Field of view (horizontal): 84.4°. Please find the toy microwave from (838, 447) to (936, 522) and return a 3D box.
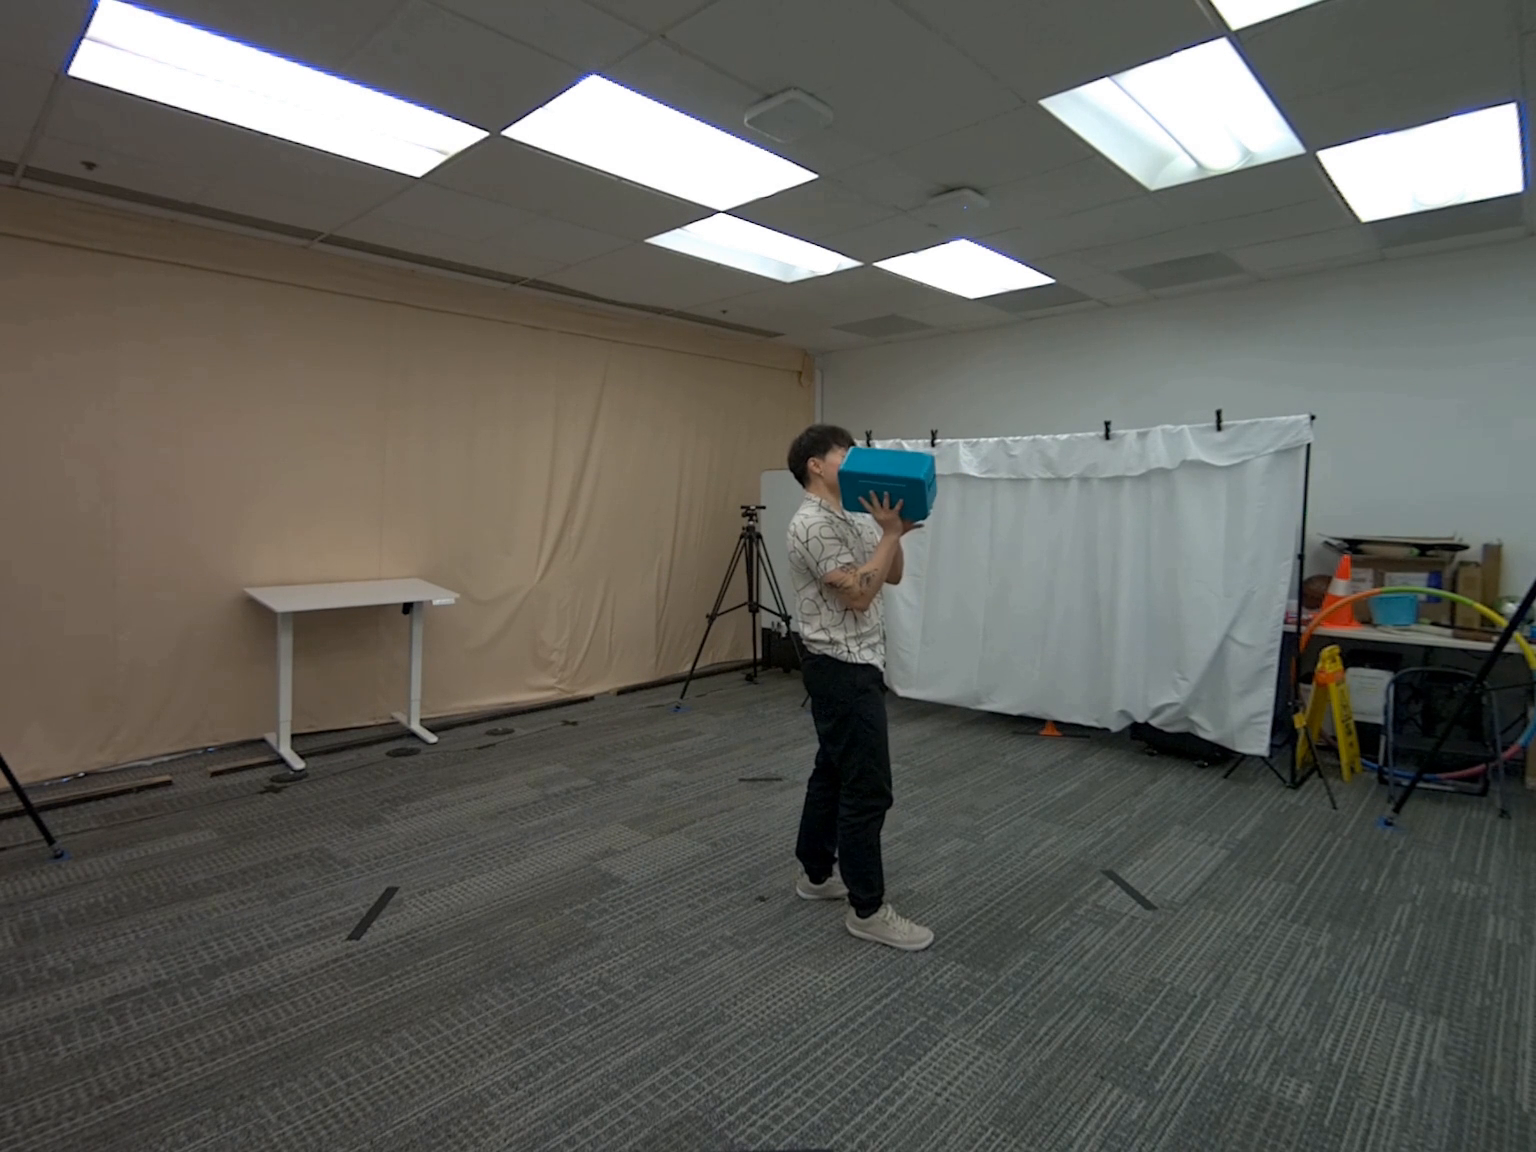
[{"bbox_3d":[0.386,-0.295,2.632,0.294,0.179,0.152,9,48,25],"label":"toy microwave"}]
